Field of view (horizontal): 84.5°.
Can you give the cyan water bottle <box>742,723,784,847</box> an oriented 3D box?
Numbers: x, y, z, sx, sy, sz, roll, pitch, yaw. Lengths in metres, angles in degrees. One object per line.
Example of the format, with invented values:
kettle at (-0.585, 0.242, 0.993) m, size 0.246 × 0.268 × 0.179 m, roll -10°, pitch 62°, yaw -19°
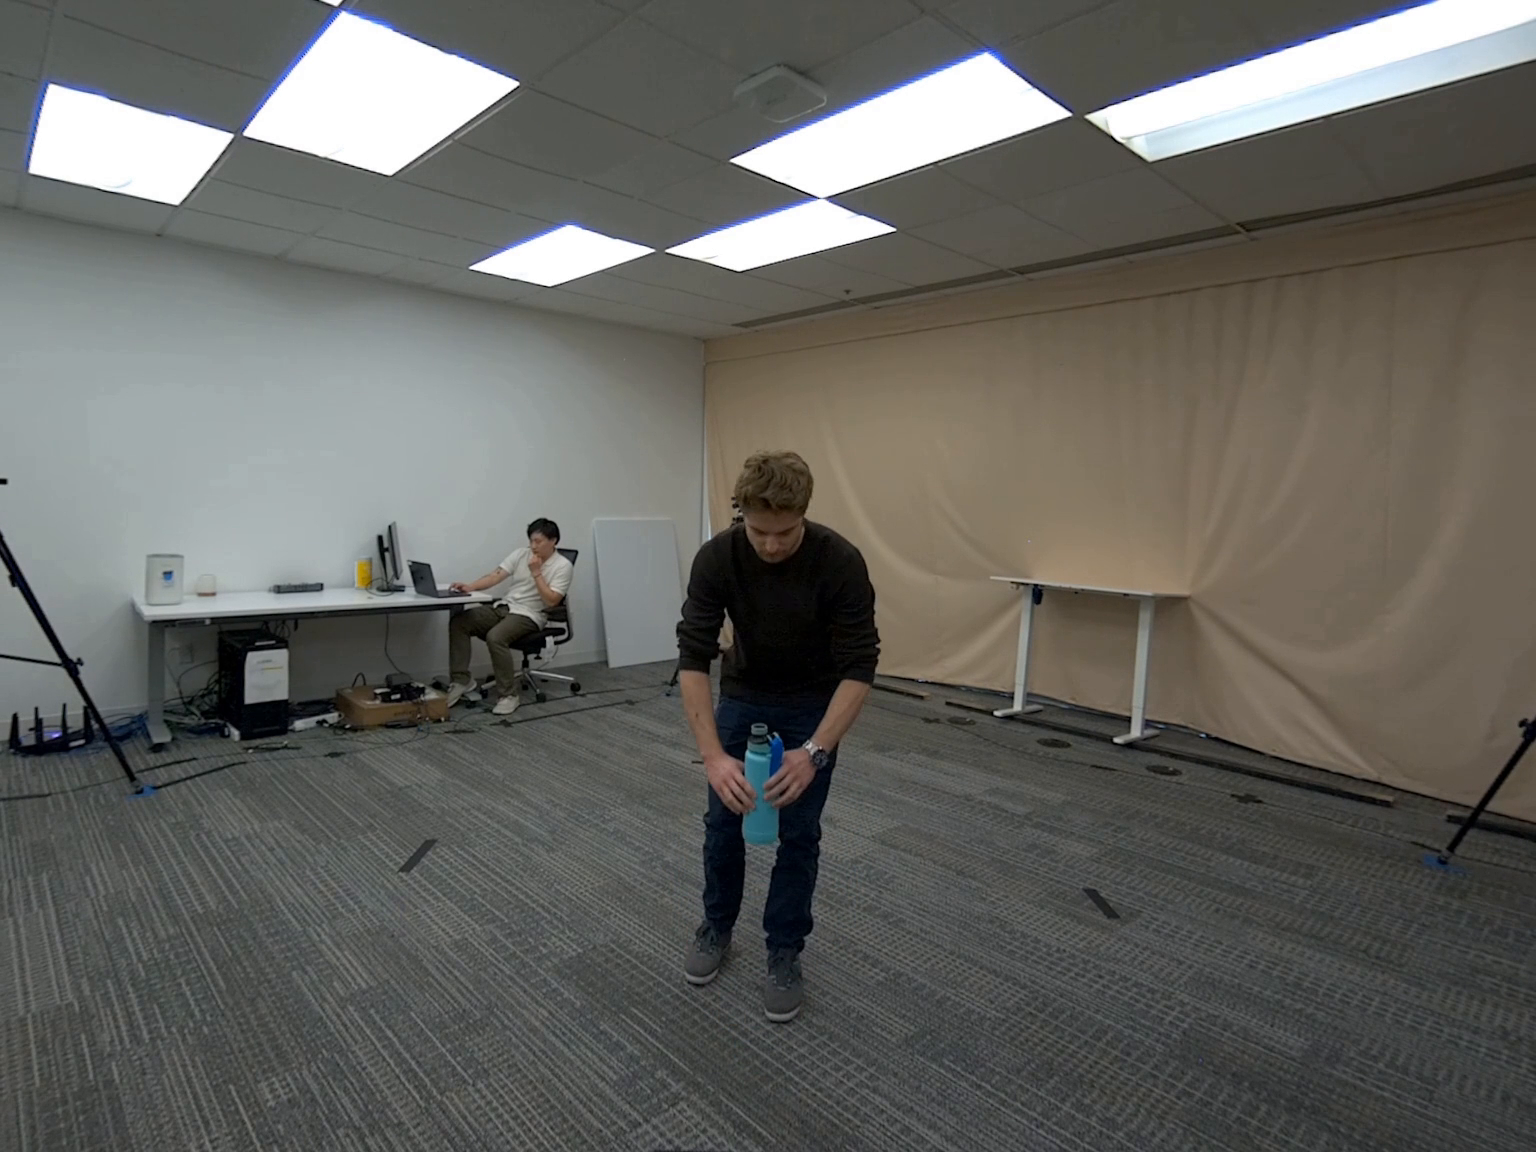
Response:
cyan water bottle at (-0.019, 0.521, 2.069) m, size 0.092 × 0.281 × 0.093 m, roll 5°, pitch 11°, yaw -2°
